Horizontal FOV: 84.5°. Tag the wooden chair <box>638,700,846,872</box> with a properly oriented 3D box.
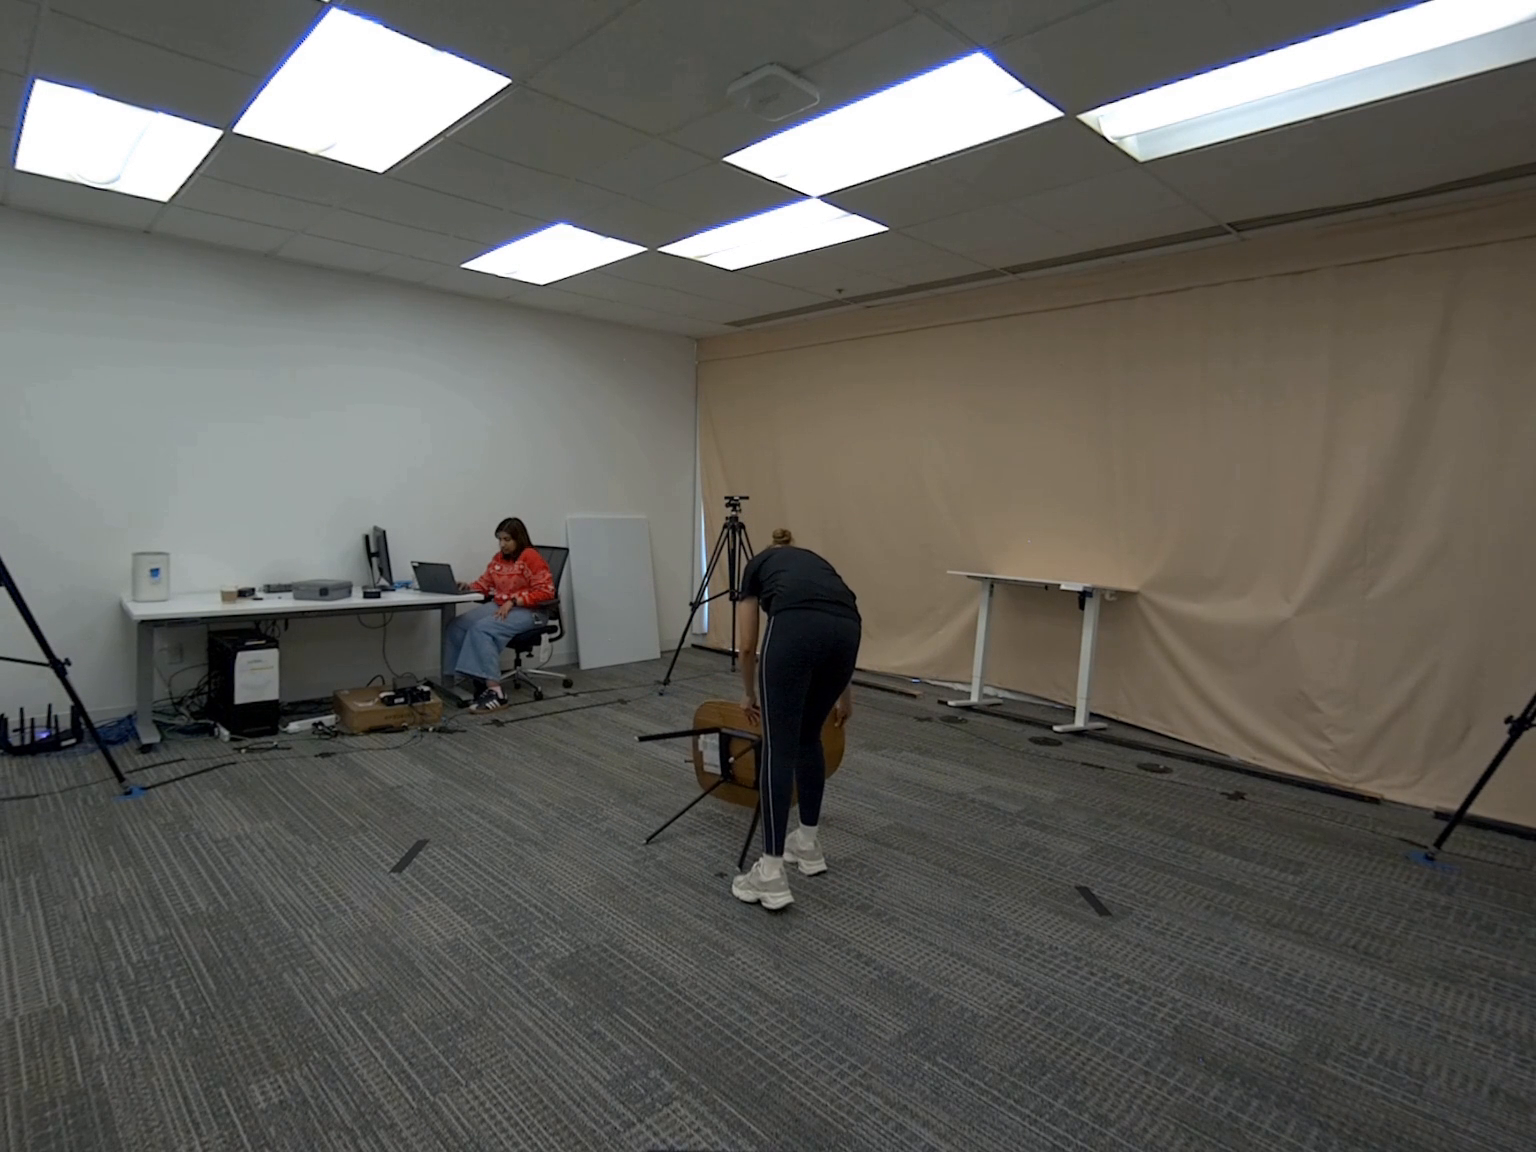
[{"bbox_3d":[-0.120,0.783,3.563,0.535,0.474,0.863,4,13,35],"label":"wooden chair"}]
